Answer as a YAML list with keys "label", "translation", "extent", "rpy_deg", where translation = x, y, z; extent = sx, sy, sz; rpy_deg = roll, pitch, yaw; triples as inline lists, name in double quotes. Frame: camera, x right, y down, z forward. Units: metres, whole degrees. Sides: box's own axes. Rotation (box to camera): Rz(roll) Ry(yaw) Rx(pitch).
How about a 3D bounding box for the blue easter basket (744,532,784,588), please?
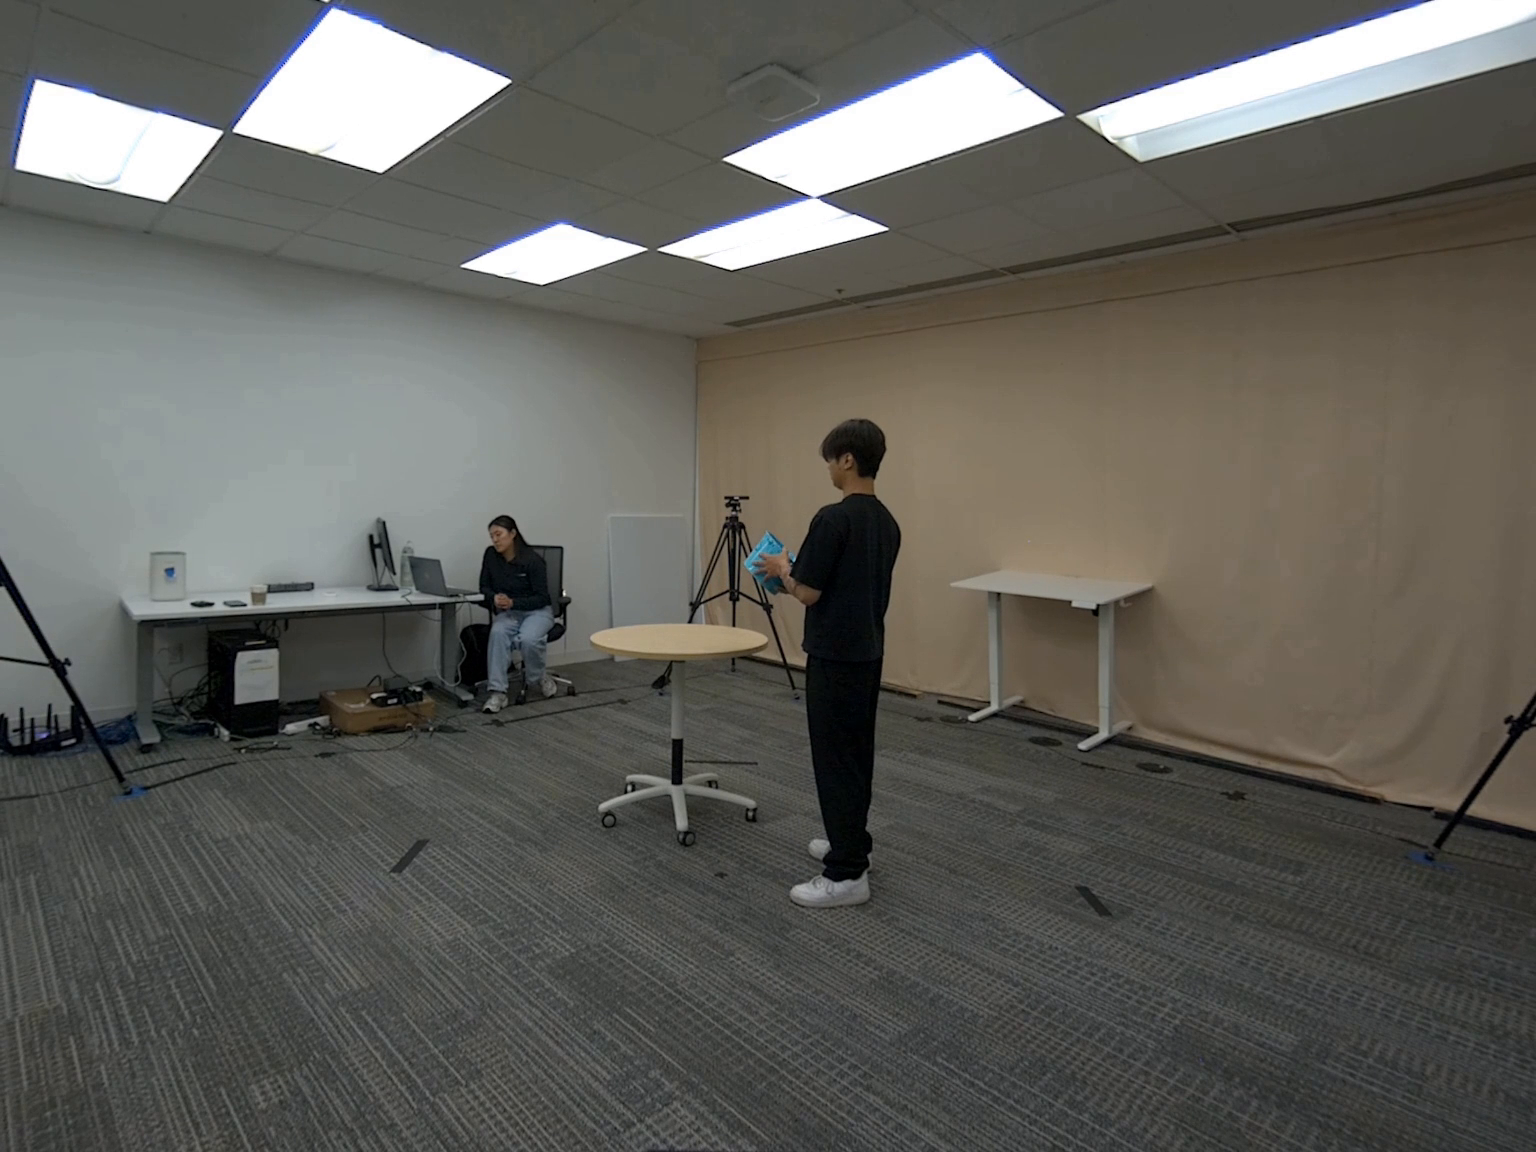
- label: "blue easter basket"
  translation: [0.025, -0.042, 3.301]
  extent: [0.242, 0.156, 0.245]
  rpy_deg: [45, 6, -8]
